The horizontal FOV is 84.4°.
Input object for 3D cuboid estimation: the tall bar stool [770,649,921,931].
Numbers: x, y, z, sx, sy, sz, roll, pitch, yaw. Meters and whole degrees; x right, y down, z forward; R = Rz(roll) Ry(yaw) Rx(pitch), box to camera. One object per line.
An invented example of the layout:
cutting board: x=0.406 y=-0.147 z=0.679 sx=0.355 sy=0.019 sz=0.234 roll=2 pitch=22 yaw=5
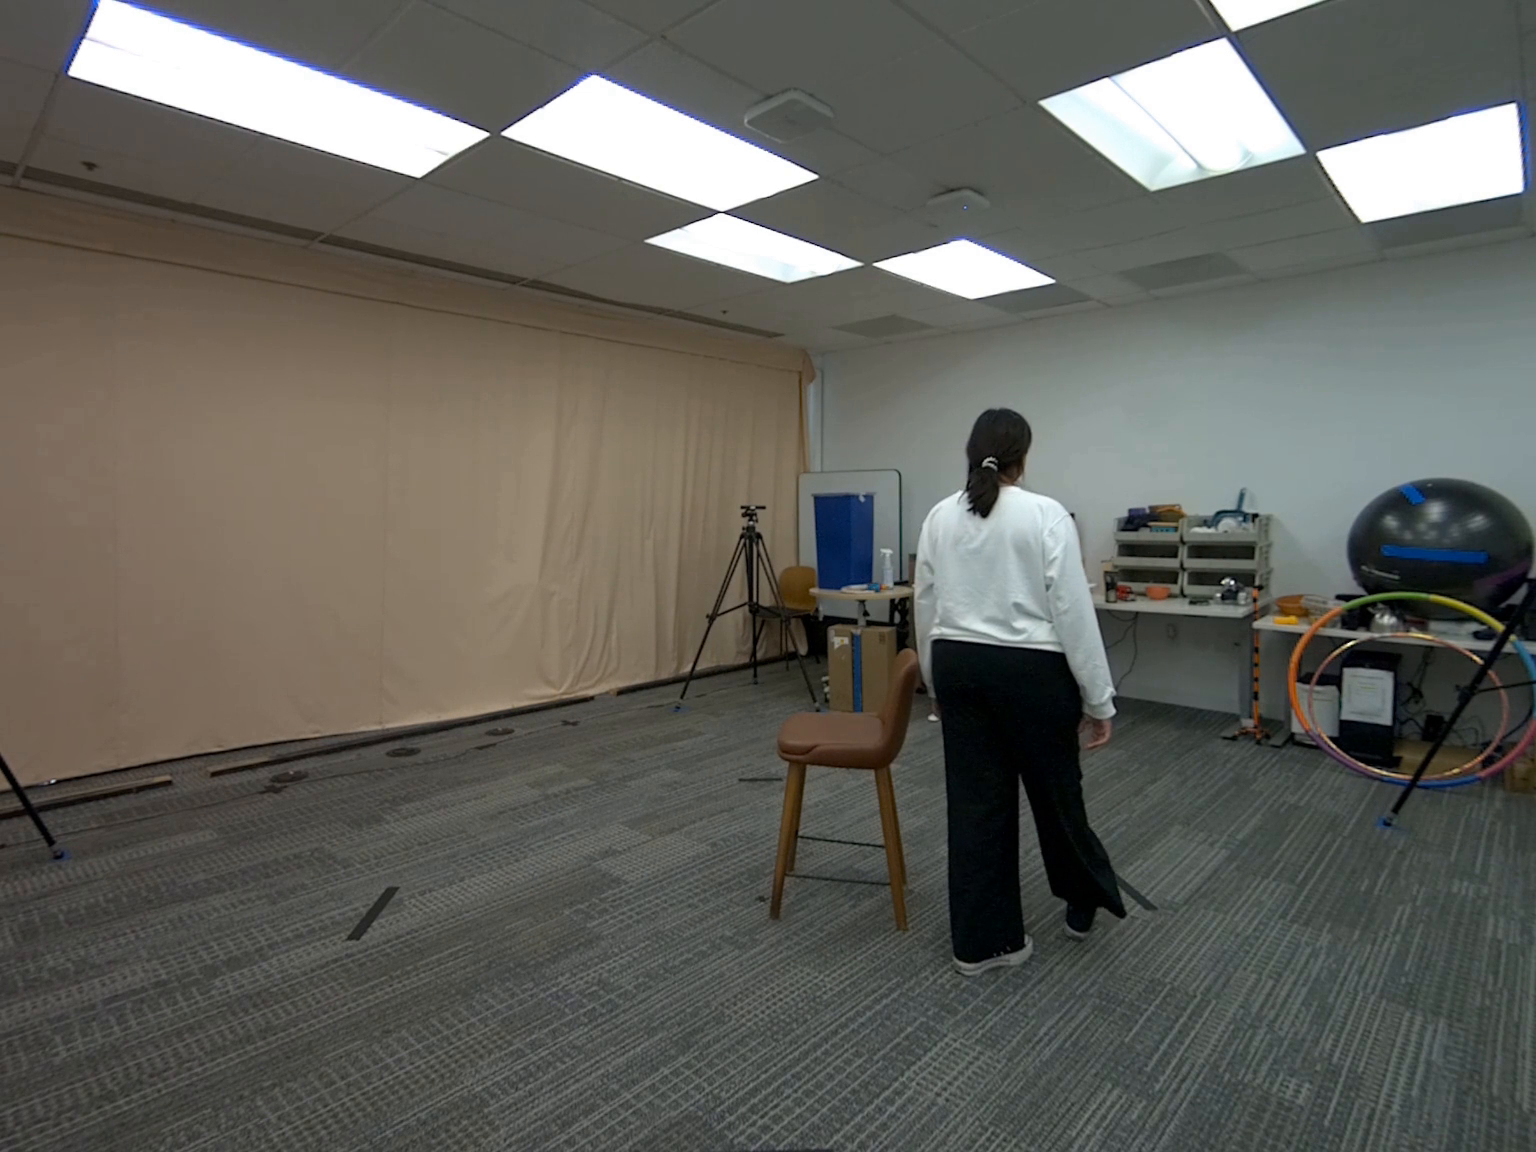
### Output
tall bar stool: x=0.273 y=0.709 z=2.961 sx=0.474 sy=0.888 sz=0.451 roll=3 pitch=4 yaw=11
